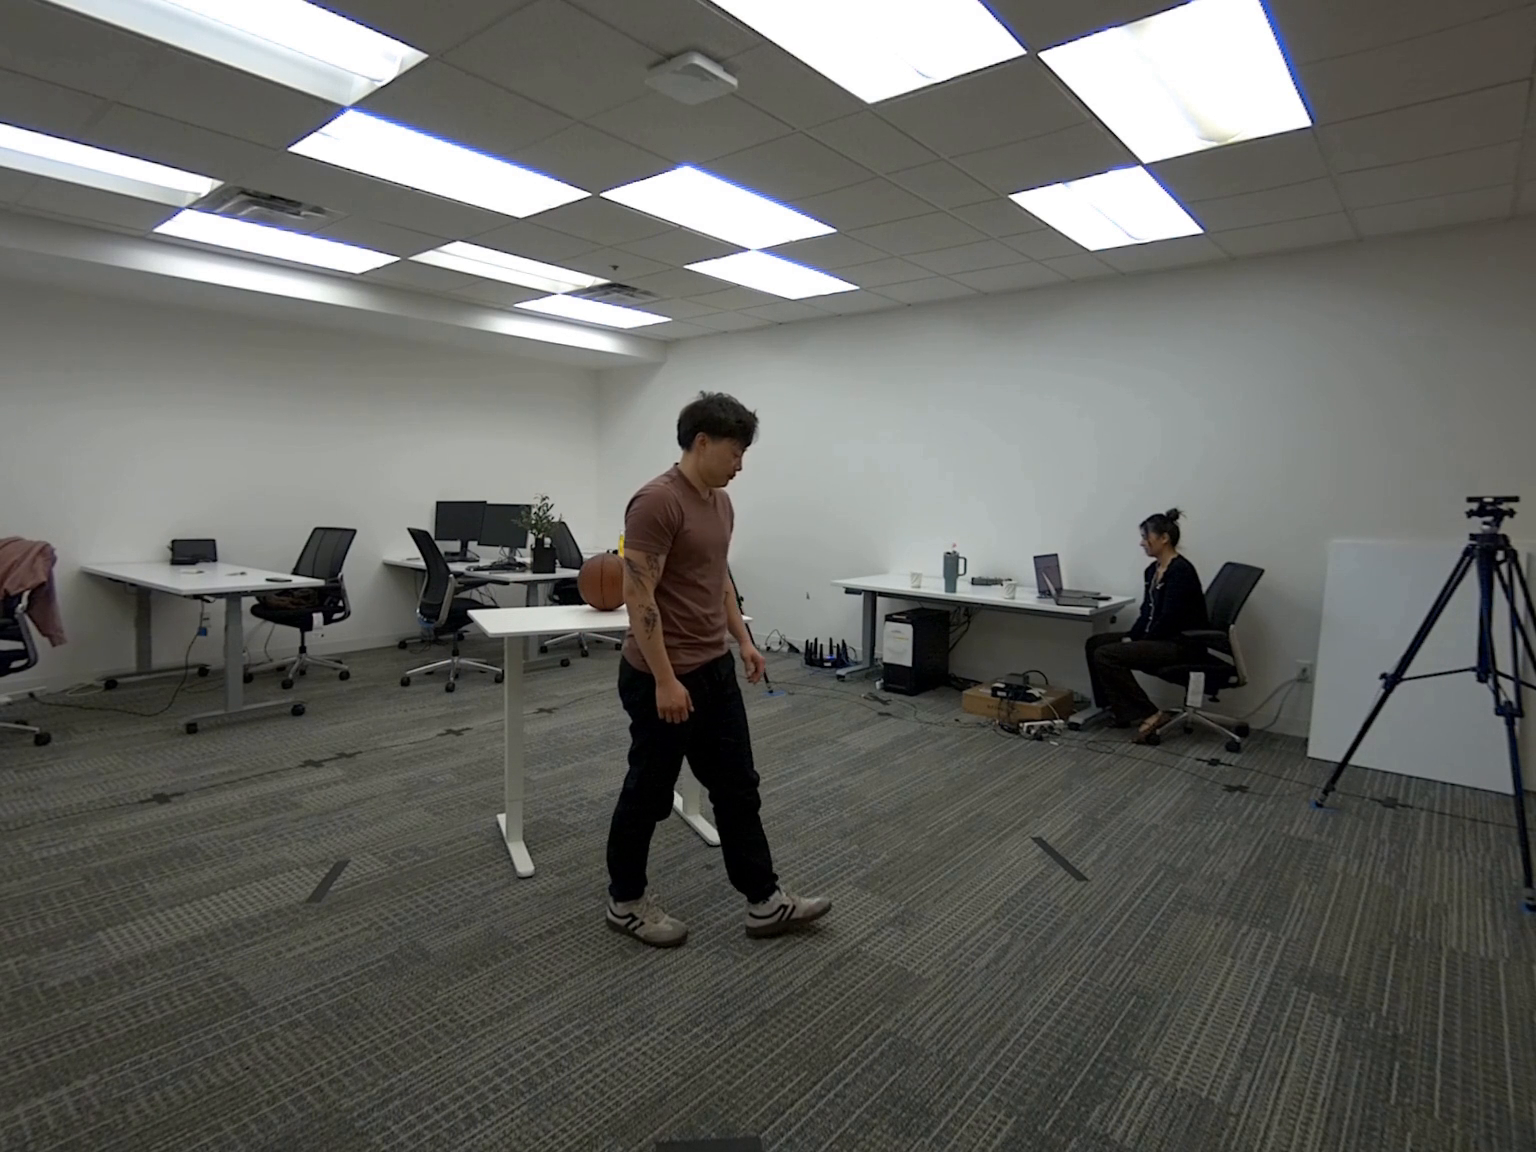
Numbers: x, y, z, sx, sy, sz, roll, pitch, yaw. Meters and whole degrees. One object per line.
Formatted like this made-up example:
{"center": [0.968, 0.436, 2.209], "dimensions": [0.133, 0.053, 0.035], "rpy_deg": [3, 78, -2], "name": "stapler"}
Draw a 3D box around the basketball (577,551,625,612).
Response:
{"center": [-0.674, 0.019, 3.499], "dimensions": [0.235, 0.235, 0.237], "rpy_deg": [1, 4, -2], "name": "basketball"}
